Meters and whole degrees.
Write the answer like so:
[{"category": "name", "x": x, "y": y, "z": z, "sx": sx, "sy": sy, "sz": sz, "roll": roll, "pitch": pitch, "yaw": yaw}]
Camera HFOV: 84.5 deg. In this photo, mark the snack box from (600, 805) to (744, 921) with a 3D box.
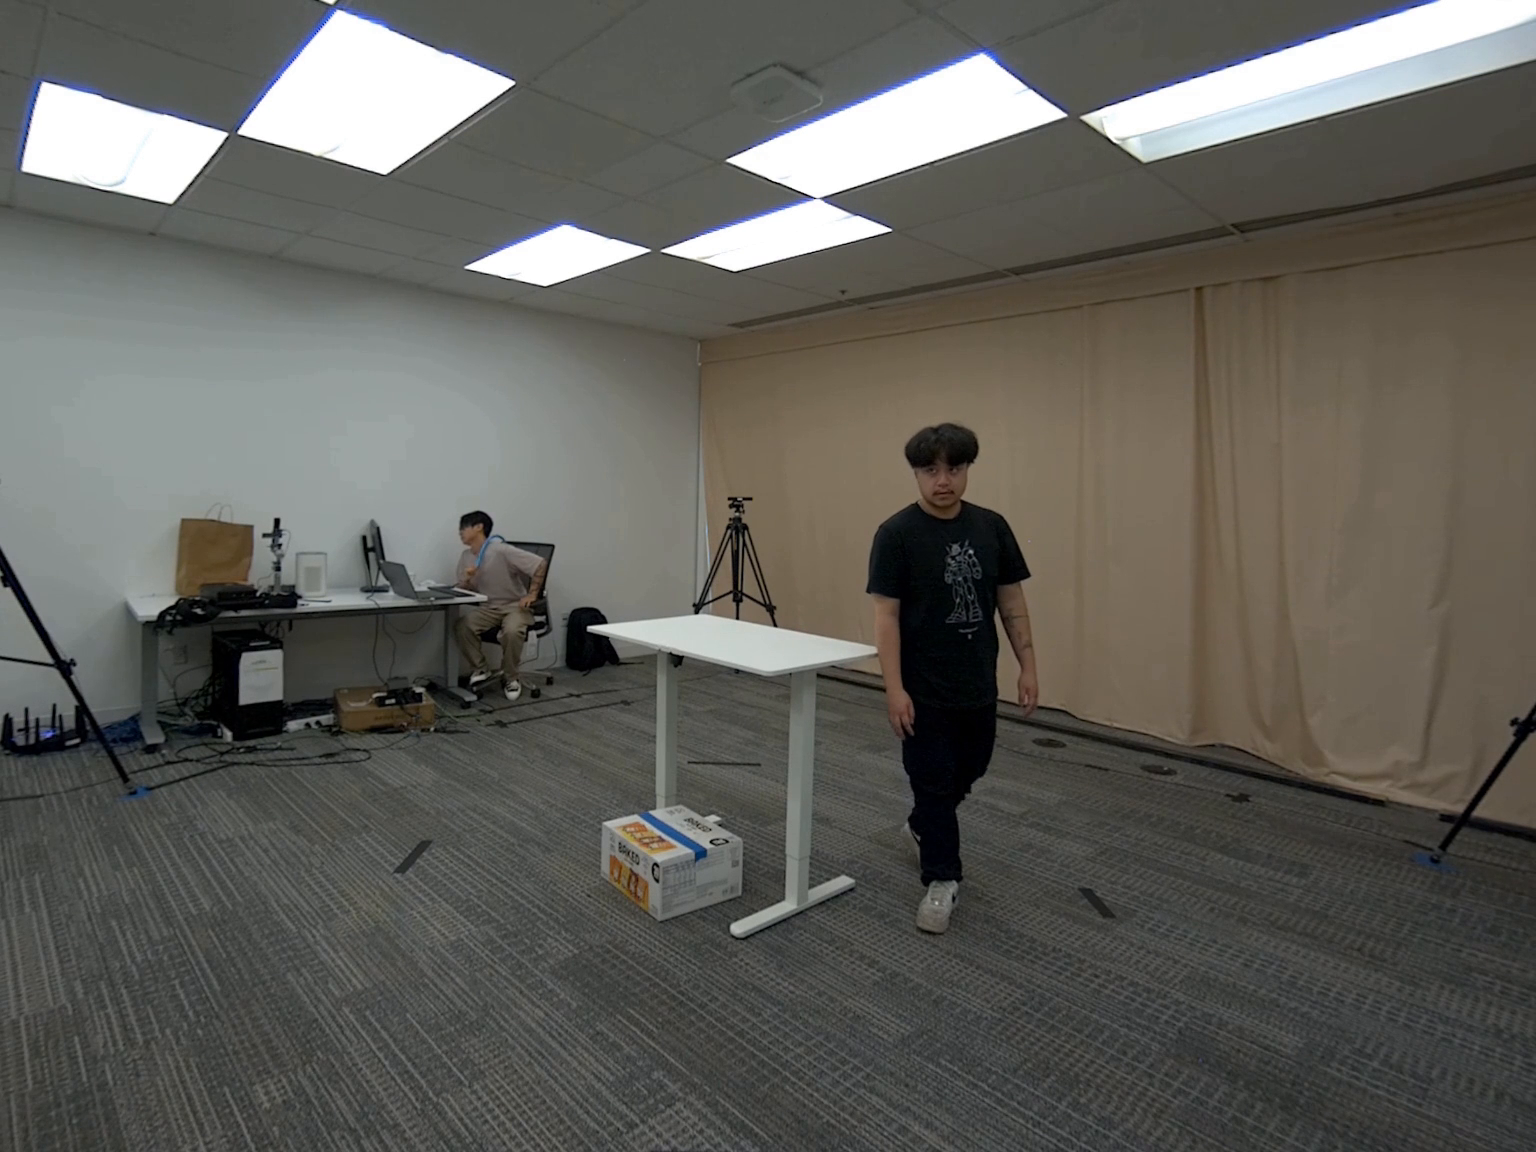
[{"category": "snack box", "x": -0.351, "y": 1.009, "z": 3.006, "sx": 0.333, "sy": 0.205, "sz": 0.415, "roll": -2, "pitch": 6, "yaw": -37}]
